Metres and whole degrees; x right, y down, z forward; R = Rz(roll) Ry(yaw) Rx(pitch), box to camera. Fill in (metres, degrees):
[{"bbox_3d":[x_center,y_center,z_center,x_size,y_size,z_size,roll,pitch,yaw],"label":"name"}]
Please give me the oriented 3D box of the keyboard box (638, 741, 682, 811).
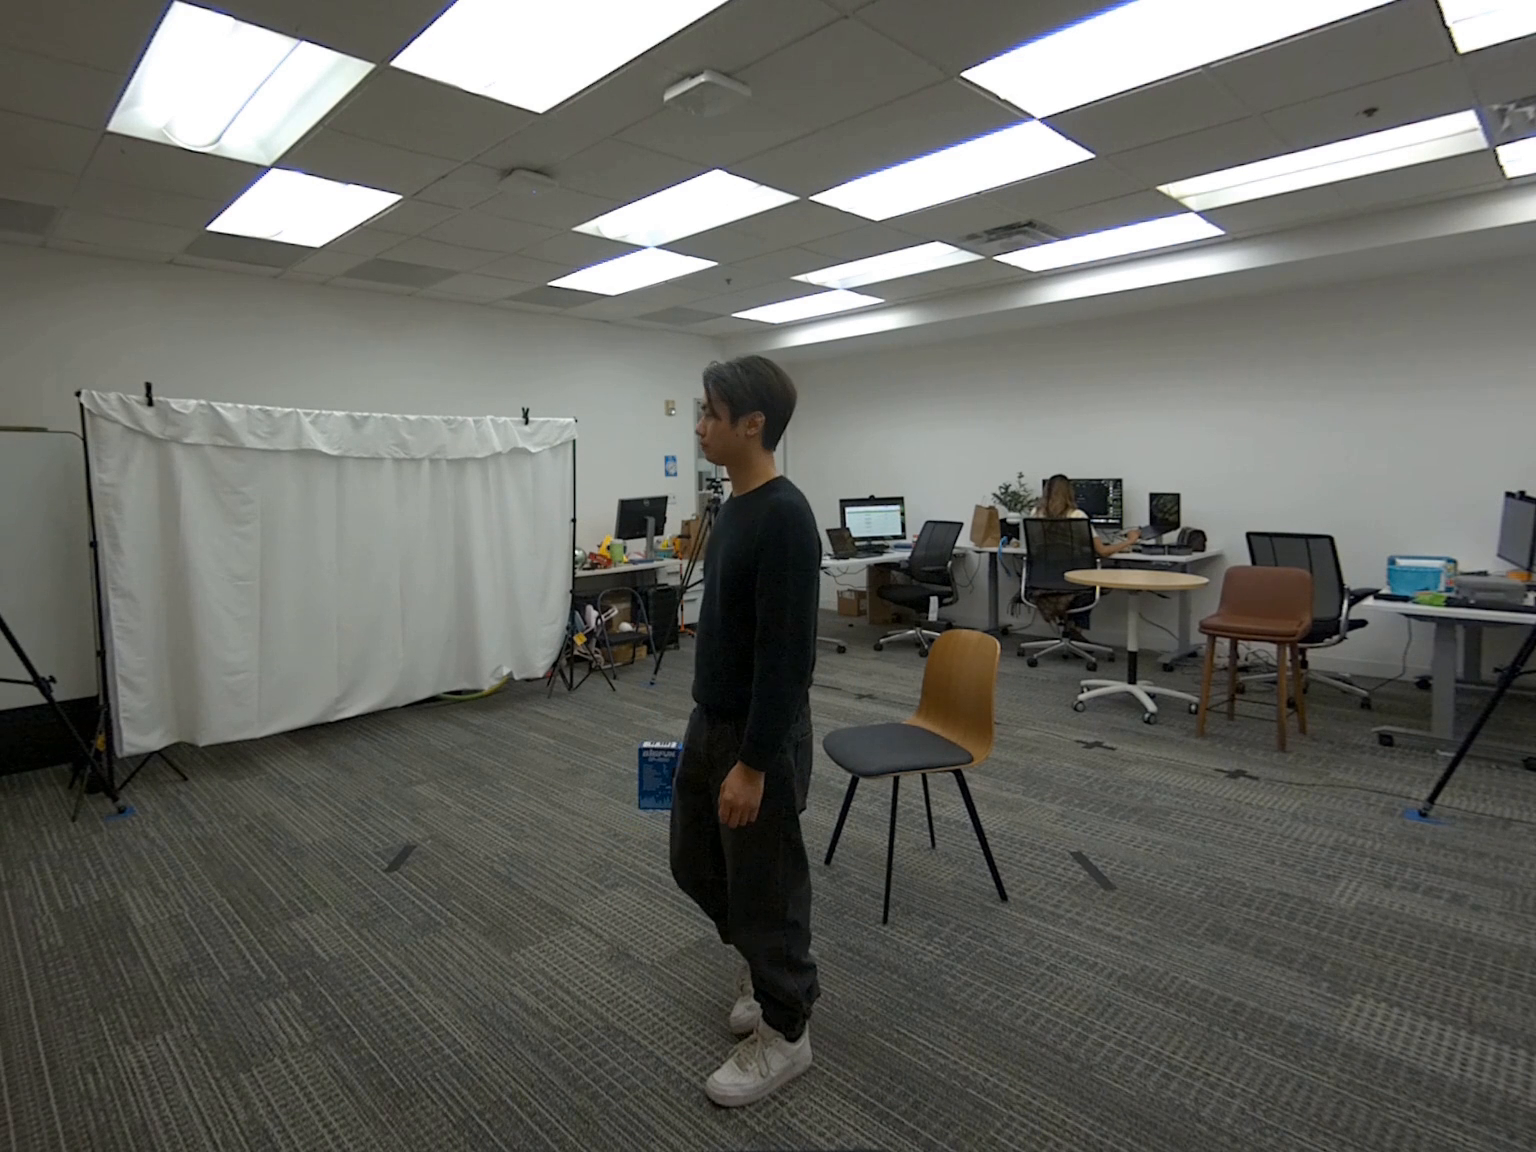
[{"bbox_3d":[-0.123,0.548,2.314,0.438,0.175,0.059,1,2,3],"label":"keyboard box"}]
